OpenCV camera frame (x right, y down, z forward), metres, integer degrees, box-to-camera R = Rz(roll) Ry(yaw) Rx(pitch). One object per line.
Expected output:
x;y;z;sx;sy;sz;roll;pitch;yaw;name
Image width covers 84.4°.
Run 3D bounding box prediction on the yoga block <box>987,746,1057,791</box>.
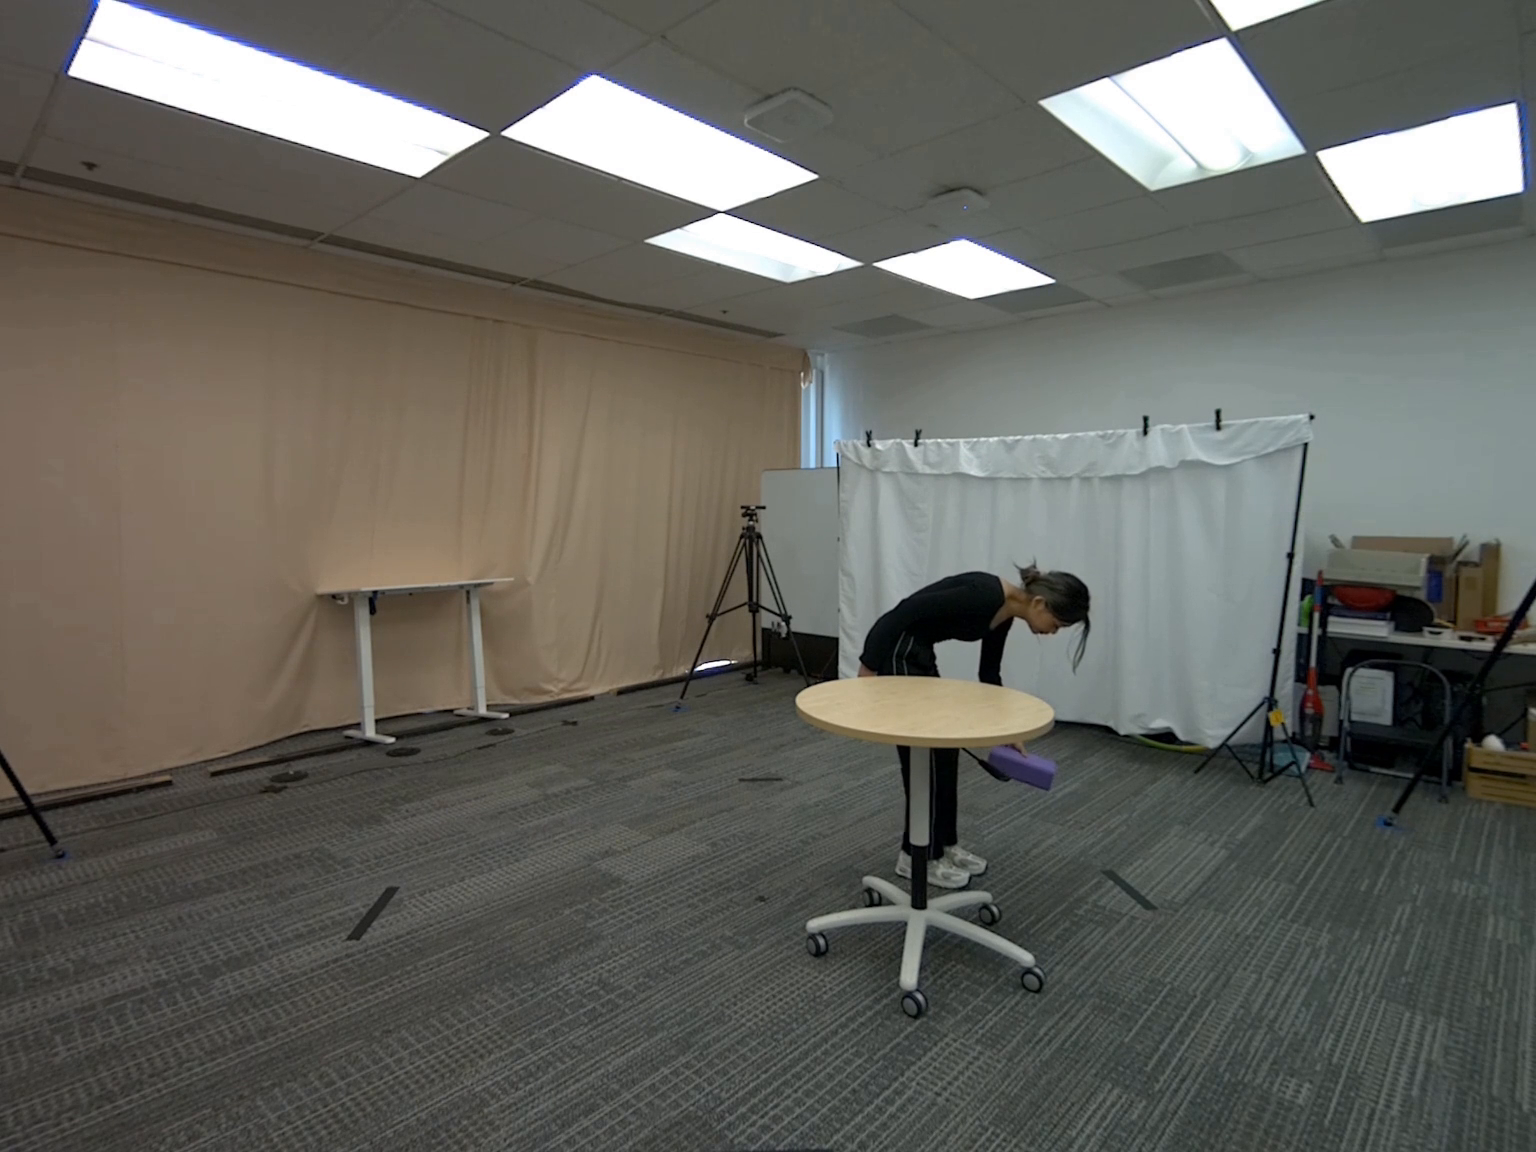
0.962;0.716;3.143;0.235;0.076;0.145;14;8;24;yoga block
